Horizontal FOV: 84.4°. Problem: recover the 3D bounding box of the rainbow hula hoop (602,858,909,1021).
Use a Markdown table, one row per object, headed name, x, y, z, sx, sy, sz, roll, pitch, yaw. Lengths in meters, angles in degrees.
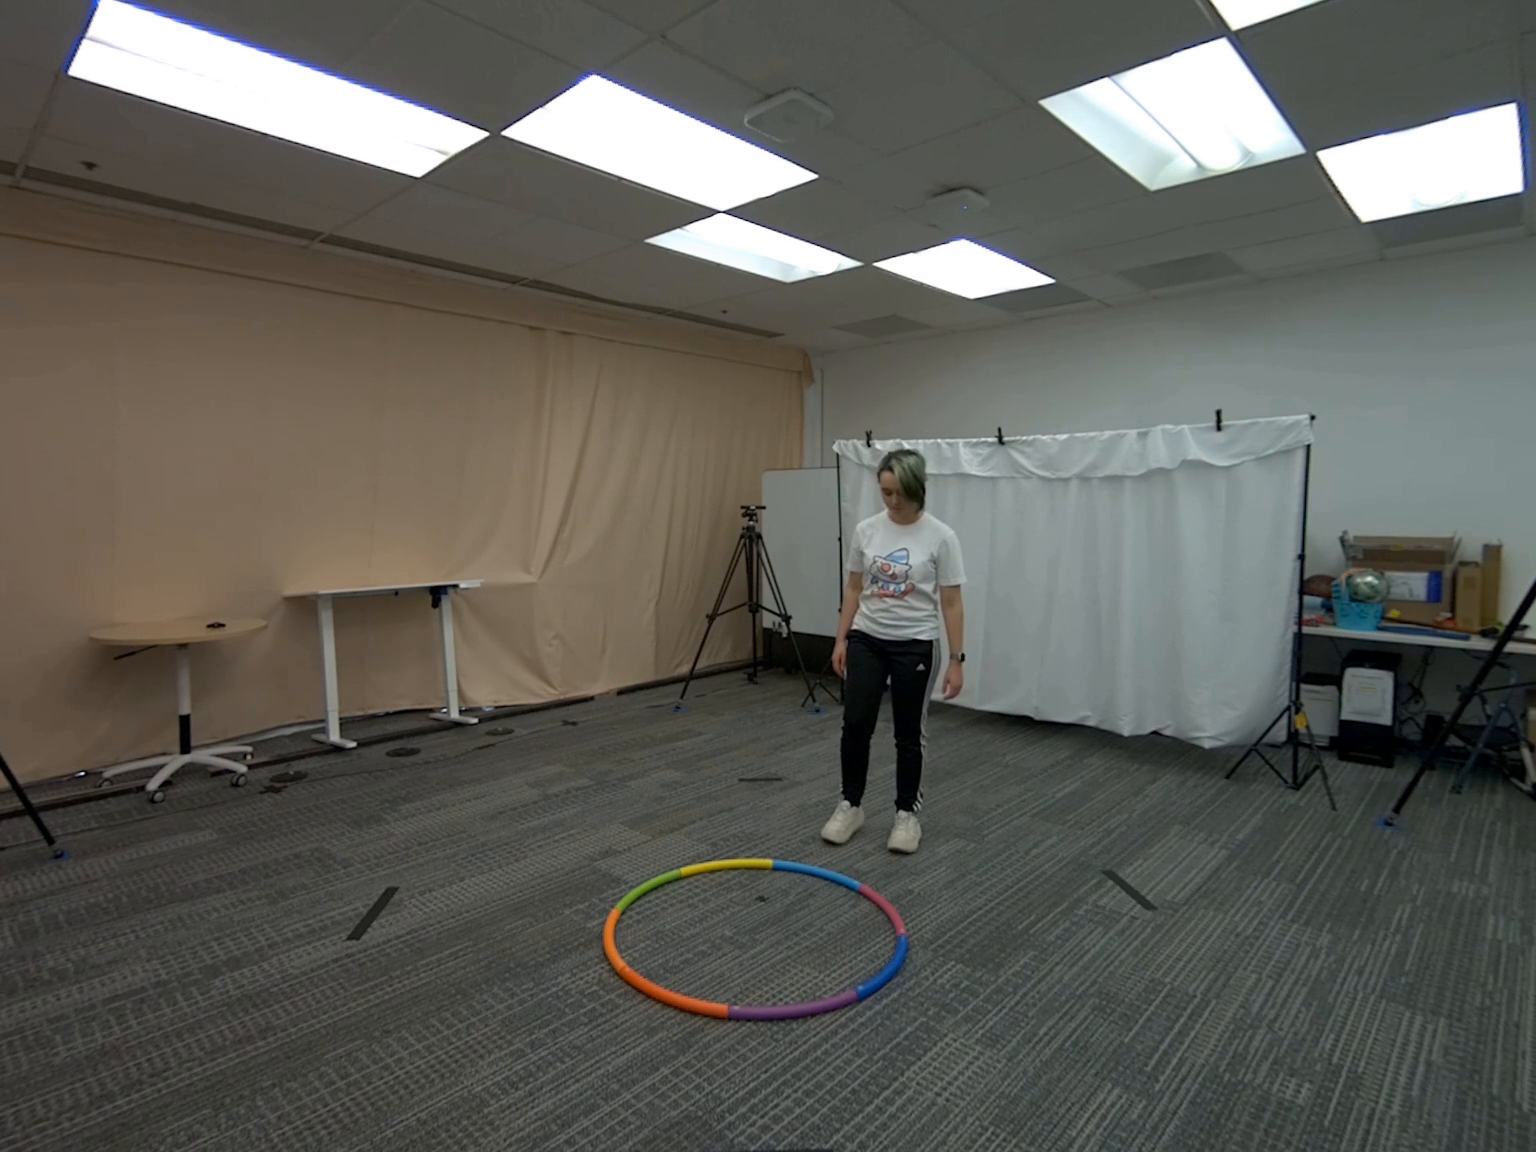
| name | x | y | z | sx | sy | sz | roll | pitch | yaw |
| --- | --- | --- | --- | --- | --- | --- | --- | --- | --- |
| rainbow hula hoop | -0.043 | 1.133 | 2.761 | 0.978 | 0.035 | 0.982 | -1 | 5 | -2 |
